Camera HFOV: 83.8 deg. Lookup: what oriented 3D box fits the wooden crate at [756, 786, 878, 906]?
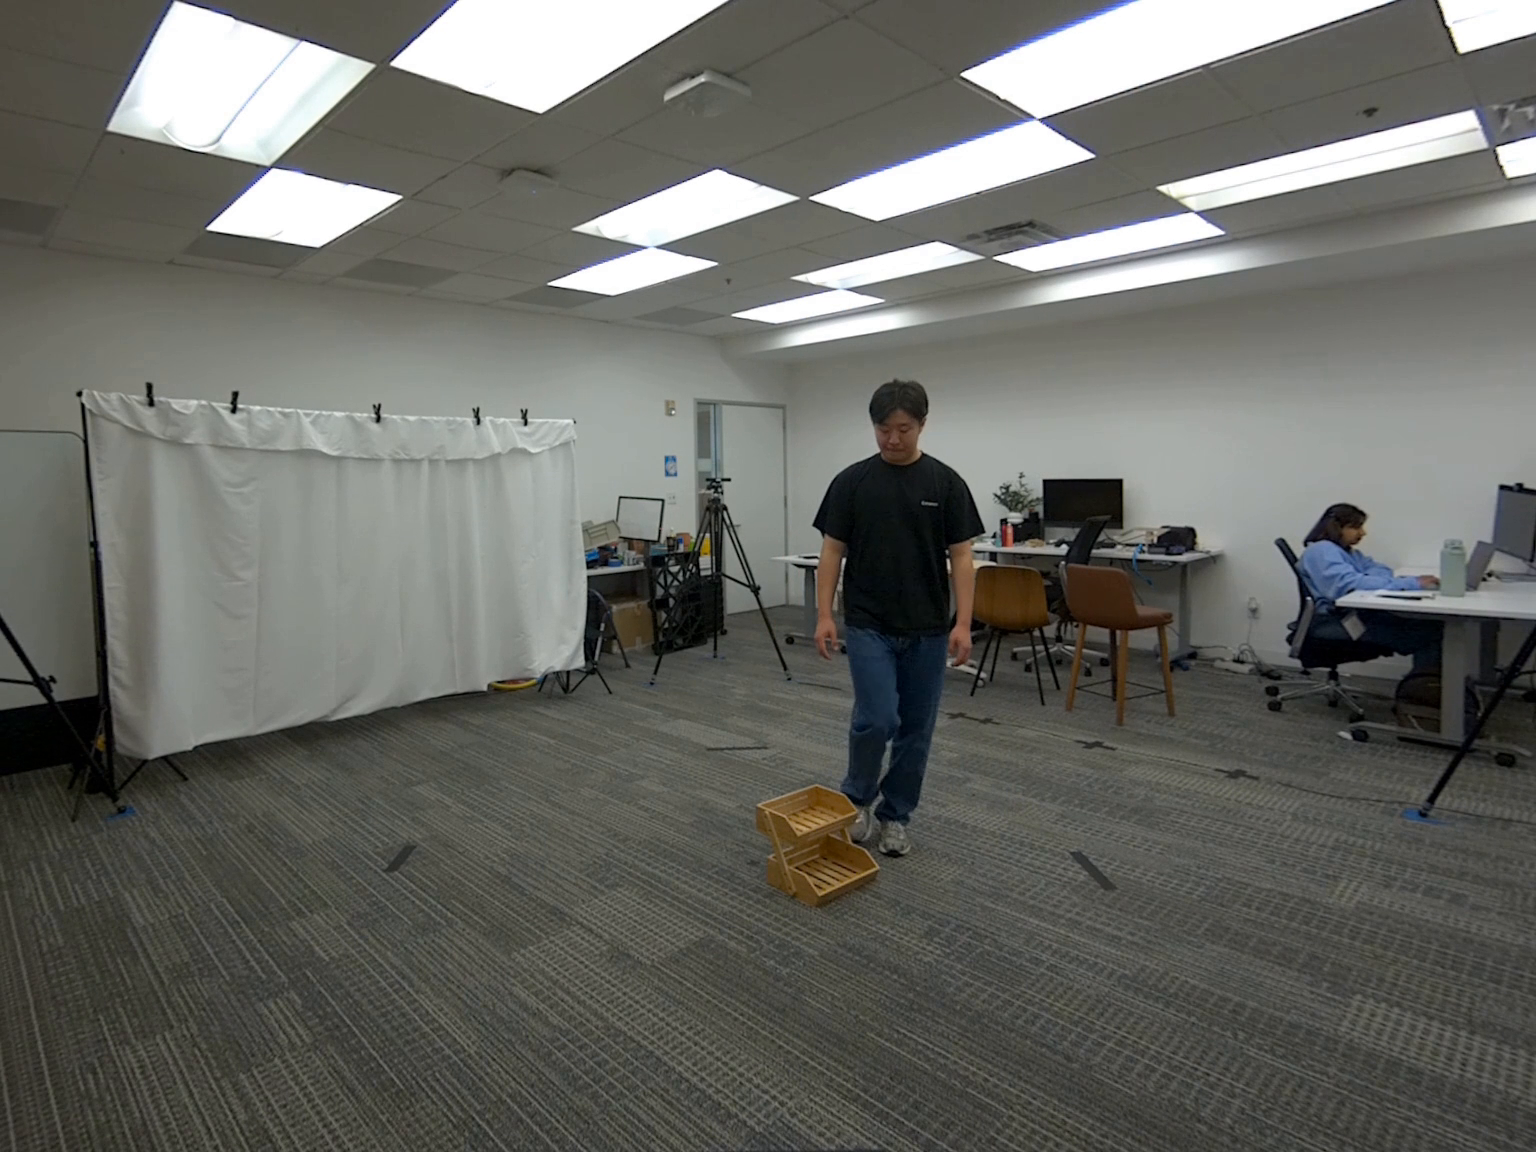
[{"bbox_3d":[0.178,0.922,2.959,0.316,0.272,0.311,-5,6,-41],"label":"wooden crate"}]
